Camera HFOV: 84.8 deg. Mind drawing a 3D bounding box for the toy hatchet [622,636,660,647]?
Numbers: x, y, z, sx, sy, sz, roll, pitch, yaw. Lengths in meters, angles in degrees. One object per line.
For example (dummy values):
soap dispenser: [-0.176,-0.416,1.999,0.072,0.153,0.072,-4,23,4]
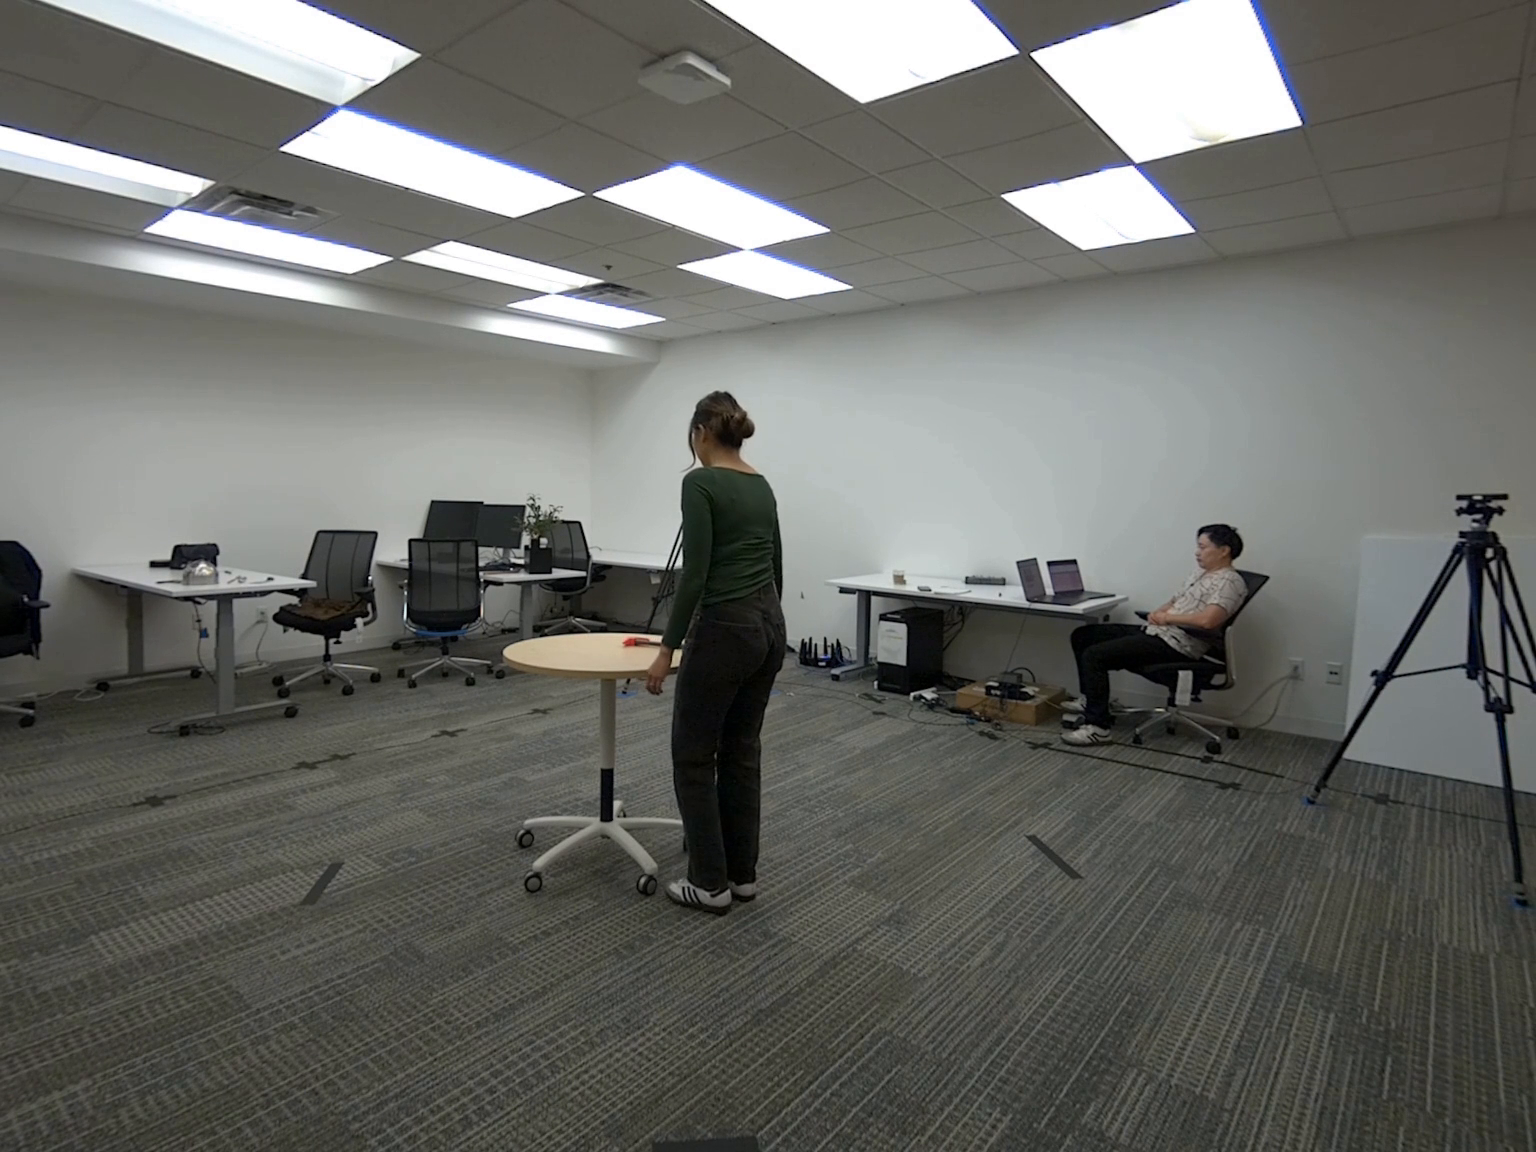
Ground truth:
toy hatchet: [-0.434,0.255,3.271,0.271,0.029,0.130,3,2,4]
